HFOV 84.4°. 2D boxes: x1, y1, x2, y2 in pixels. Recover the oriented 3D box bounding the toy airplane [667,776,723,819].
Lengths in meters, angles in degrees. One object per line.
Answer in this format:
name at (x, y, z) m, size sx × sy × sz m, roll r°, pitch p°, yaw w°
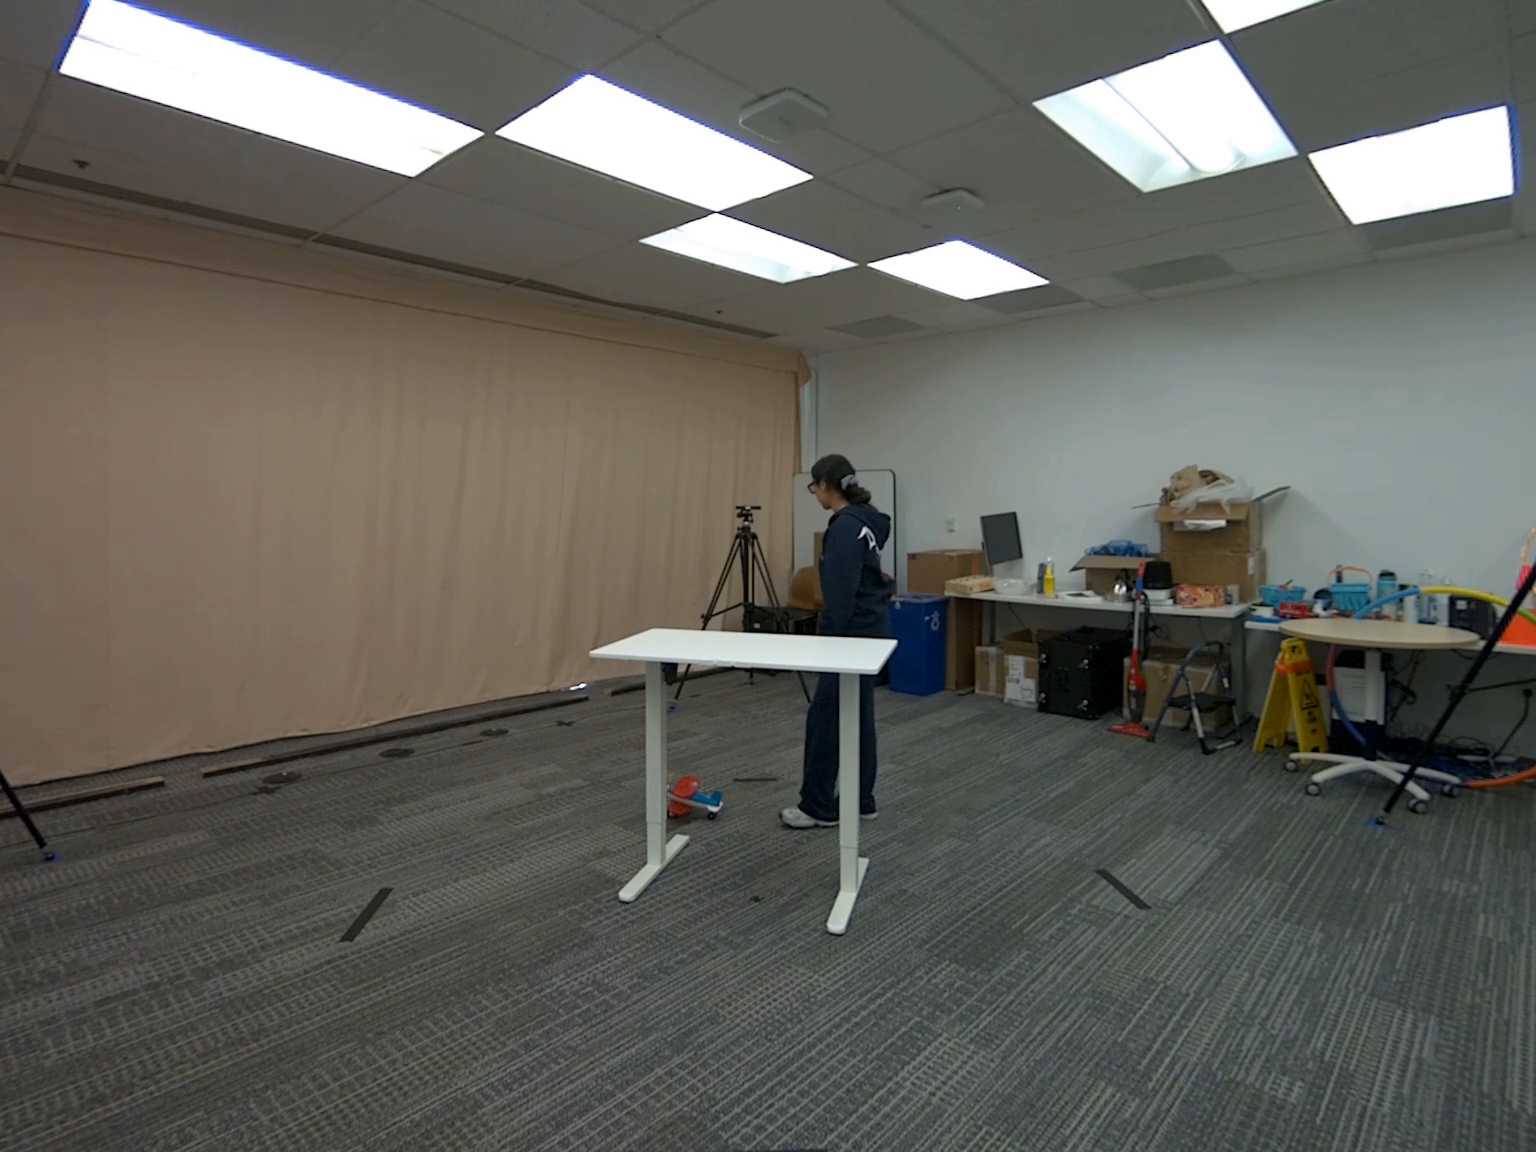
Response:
toy airplane at (-0.315, 1.008, 3.806) m, size 0.255 × 0.156 × 0.255 m, roll -4°, pitch 4°, yaw -16°
